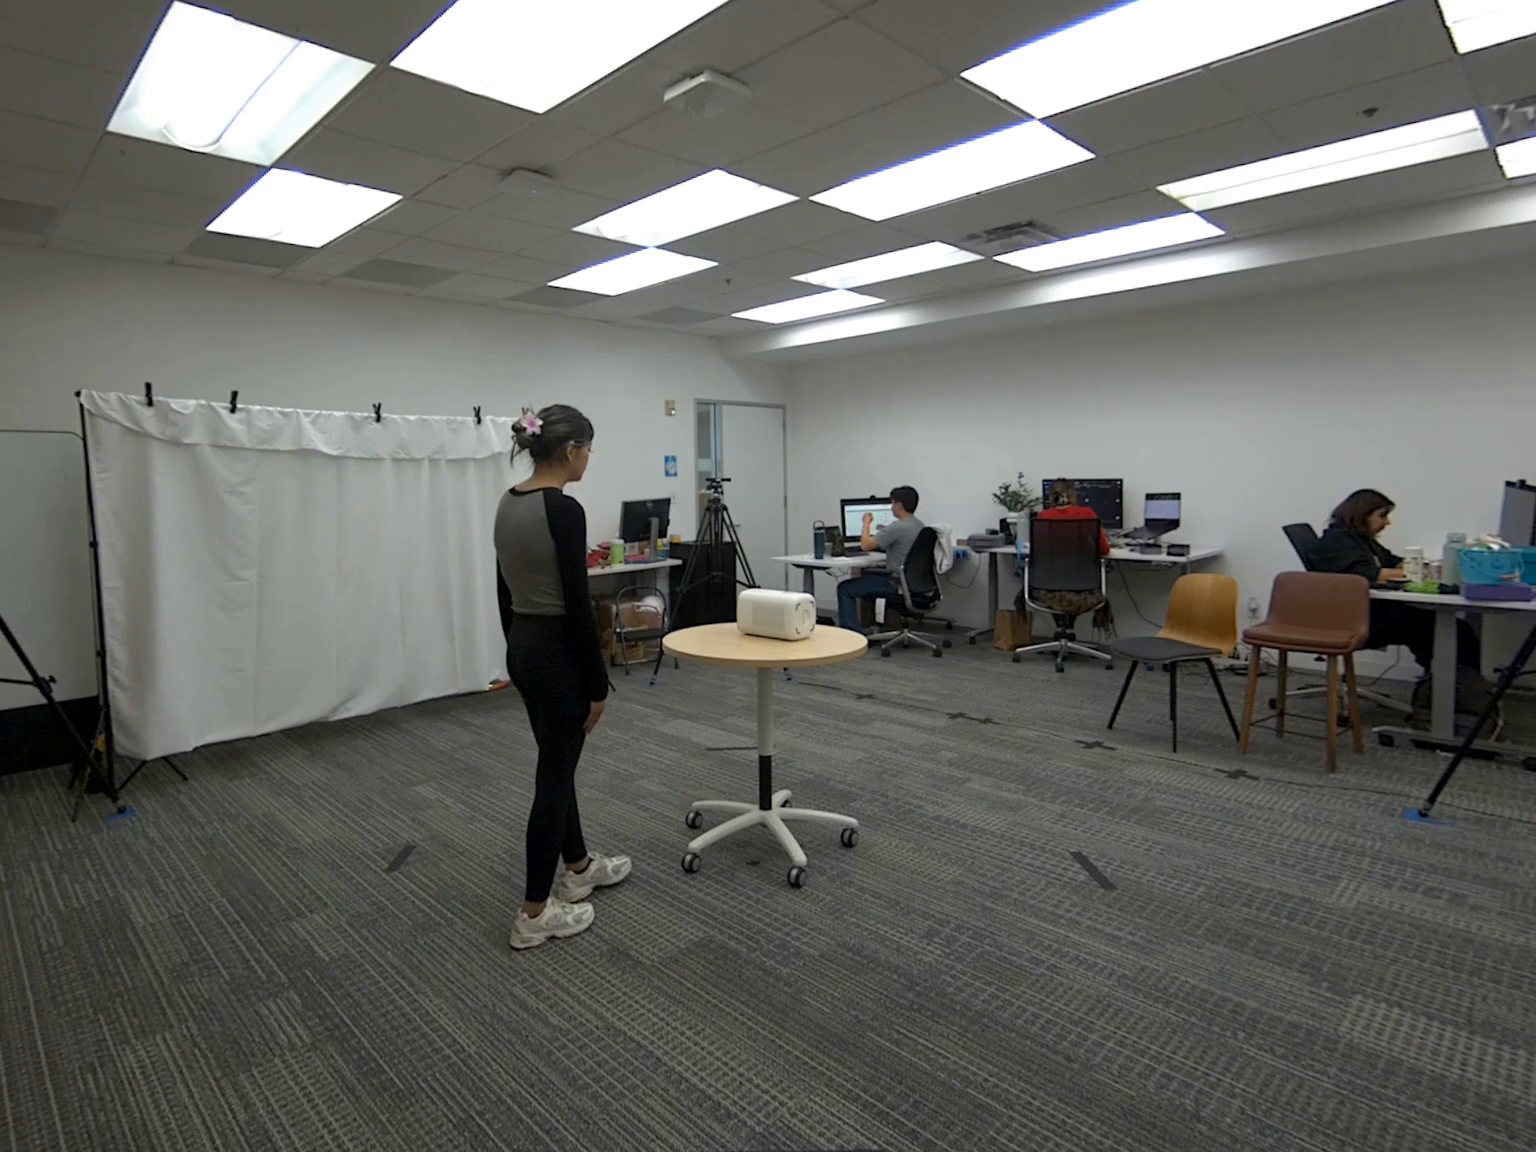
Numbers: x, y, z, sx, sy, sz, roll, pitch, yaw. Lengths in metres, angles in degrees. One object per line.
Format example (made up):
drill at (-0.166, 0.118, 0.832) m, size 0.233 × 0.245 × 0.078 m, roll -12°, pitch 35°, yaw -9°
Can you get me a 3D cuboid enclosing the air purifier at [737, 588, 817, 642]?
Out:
air purifier at (0.037, 0.143, 3.257) m, size 0.273 × 0.171 × 0.166 m, roll 4°, pitch 6°, yaw 40°
